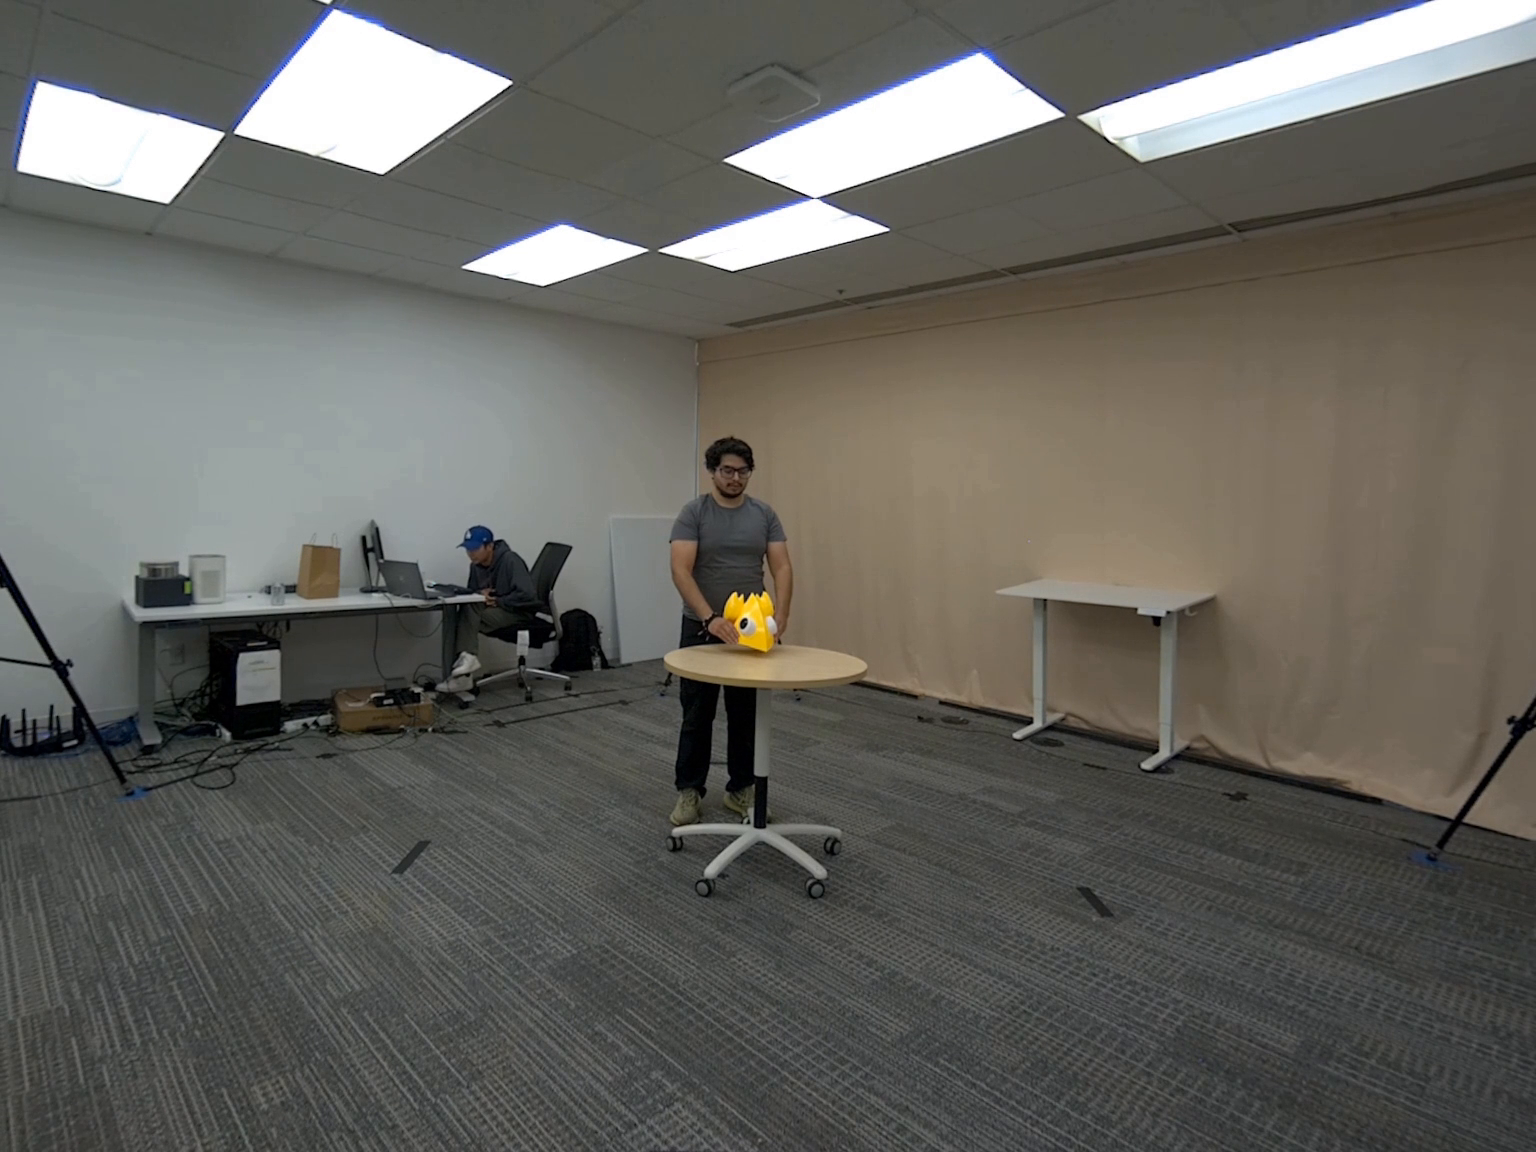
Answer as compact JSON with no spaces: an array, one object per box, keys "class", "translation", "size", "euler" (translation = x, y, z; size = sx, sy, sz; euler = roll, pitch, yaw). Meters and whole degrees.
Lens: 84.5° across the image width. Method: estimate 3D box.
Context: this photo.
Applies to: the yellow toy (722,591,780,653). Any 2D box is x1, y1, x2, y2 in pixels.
[{"class":"yellow toy","translation":[-0.049,0.192,3.287],"size":[0.201,0.191,0.237],"euler":[1,20,-21]}]
